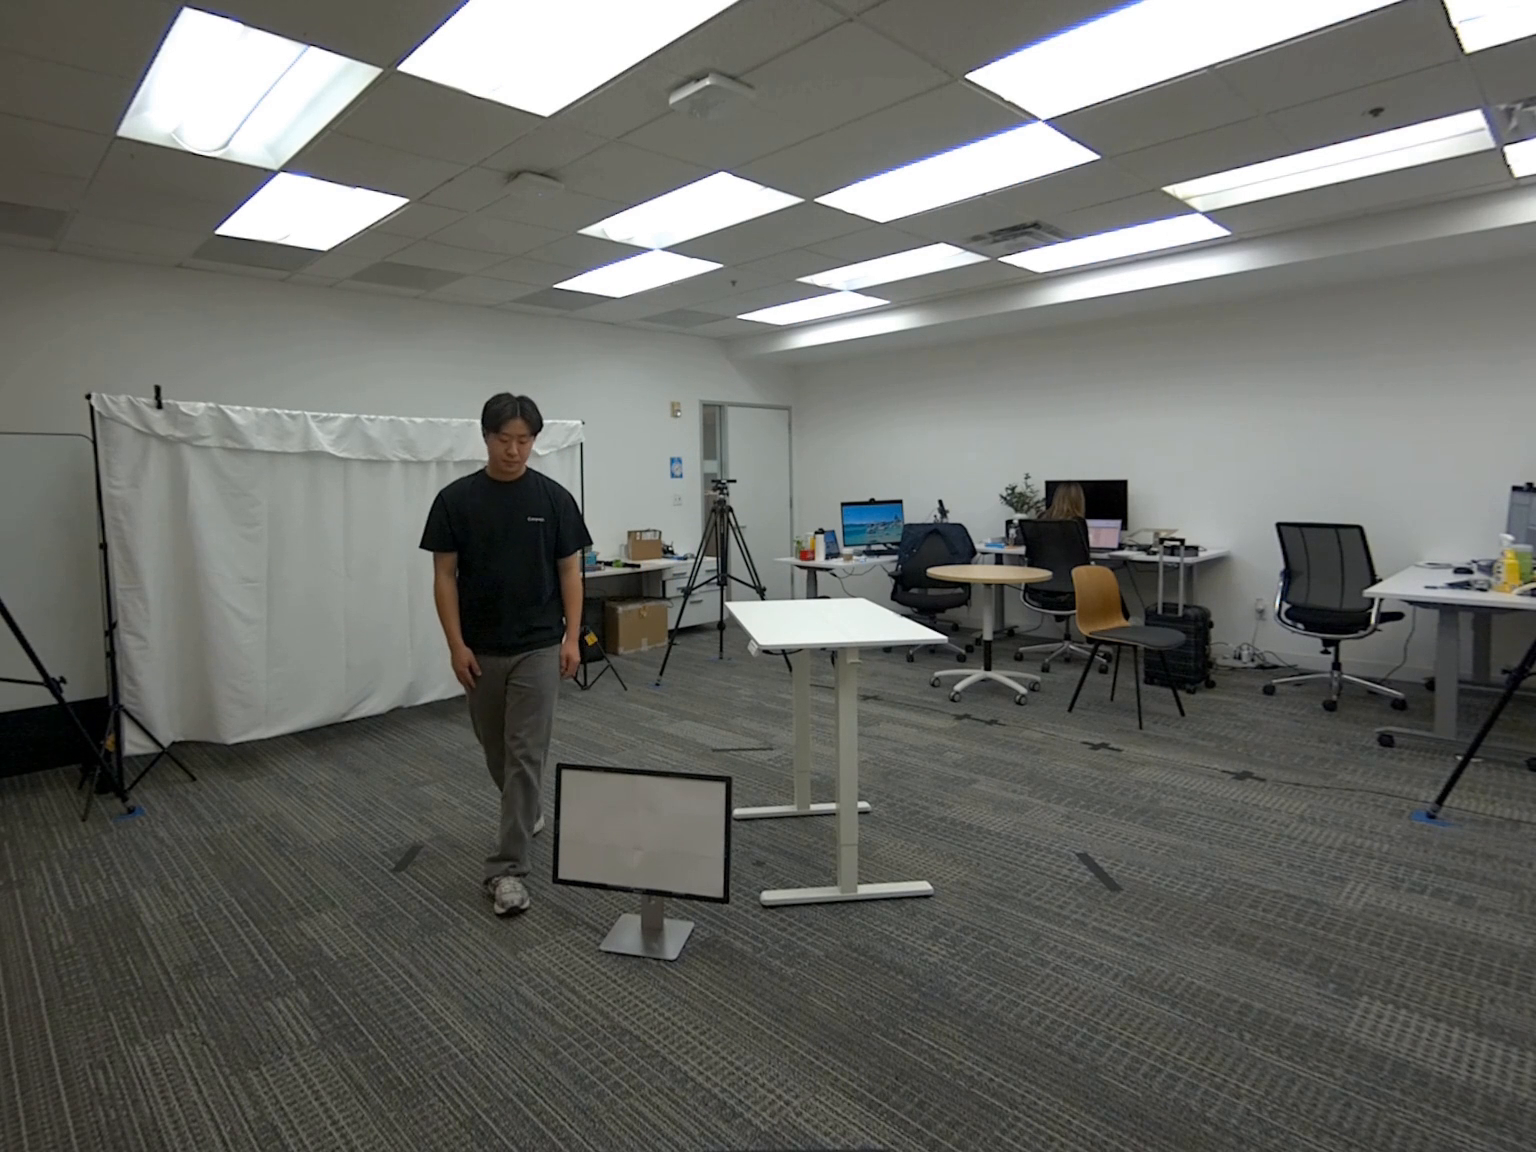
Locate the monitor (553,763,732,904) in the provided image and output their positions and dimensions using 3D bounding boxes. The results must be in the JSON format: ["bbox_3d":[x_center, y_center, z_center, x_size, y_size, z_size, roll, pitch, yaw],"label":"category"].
[{"bbox_3d":[-0.365,0.855,2.588,0.571,0.561,0.220,1,9,17],"label":"monitor"}]
